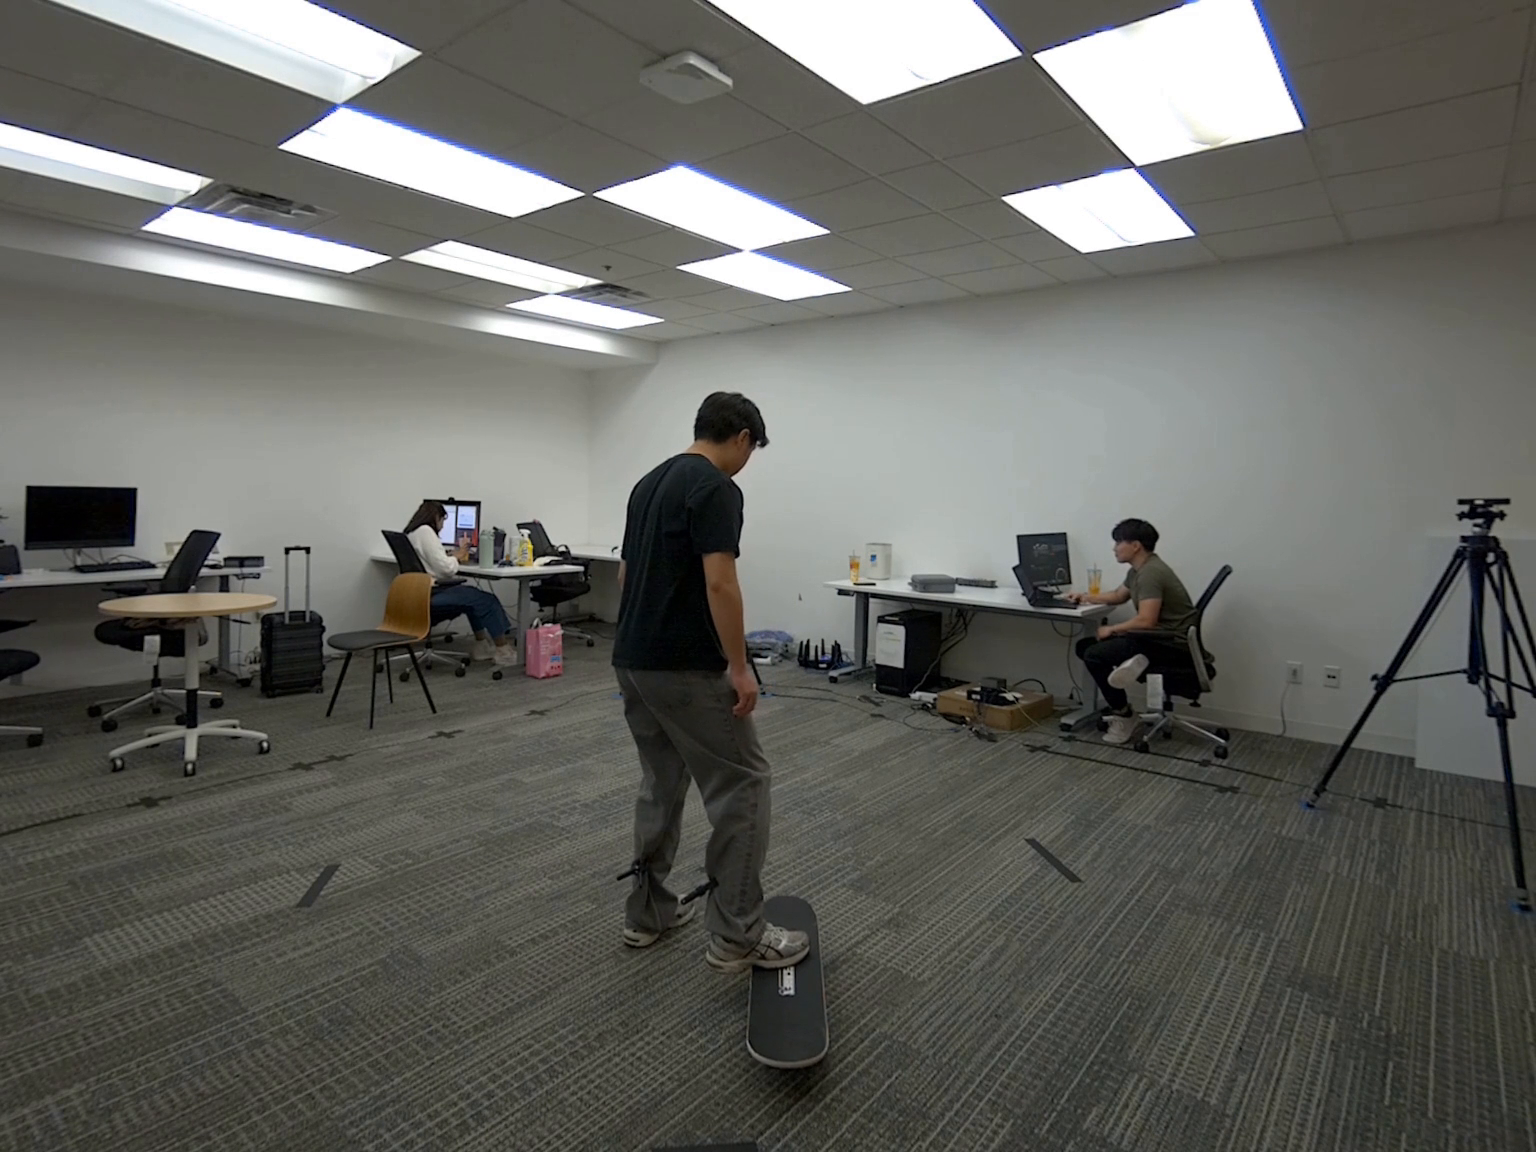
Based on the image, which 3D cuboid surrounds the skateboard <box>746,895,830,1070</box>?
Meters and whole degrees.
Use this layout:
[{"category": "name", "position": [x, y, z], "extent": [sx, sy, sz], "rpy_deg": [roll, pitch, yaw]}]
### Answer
[{"category": "skateboard", "position": [0.041, 1.096, 2.307], "extent": [0.194, 0.110, 0.786], "rpy_deg": [-1, 6, 1]}]
